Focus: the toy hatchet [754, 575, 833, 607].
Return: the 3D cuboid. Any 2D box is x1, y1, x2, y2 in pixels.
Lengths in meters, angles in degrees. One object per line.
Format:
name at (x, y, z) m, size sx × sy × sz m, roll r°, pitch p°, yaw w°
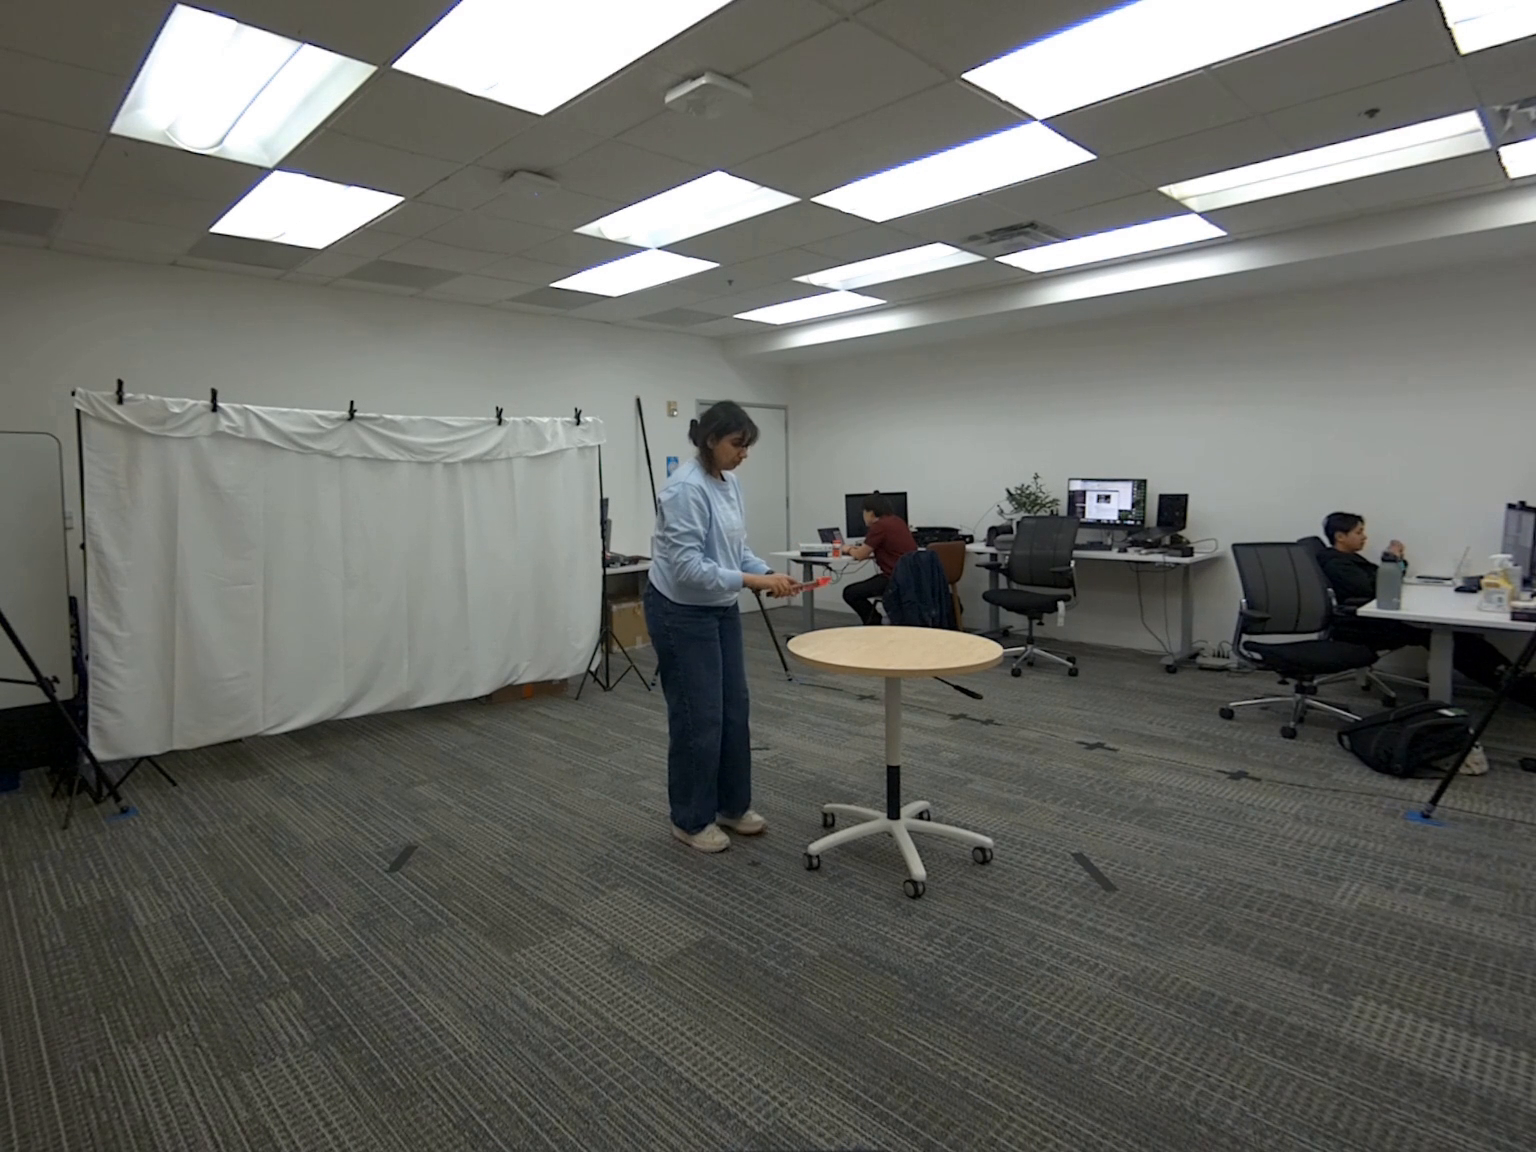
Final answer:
toy hatchet at (0.093, 0.056, 3.202) m, size 0.267 × 0.030 × 0.131 m, roll -14°, pitch -8°, yaw -16°
